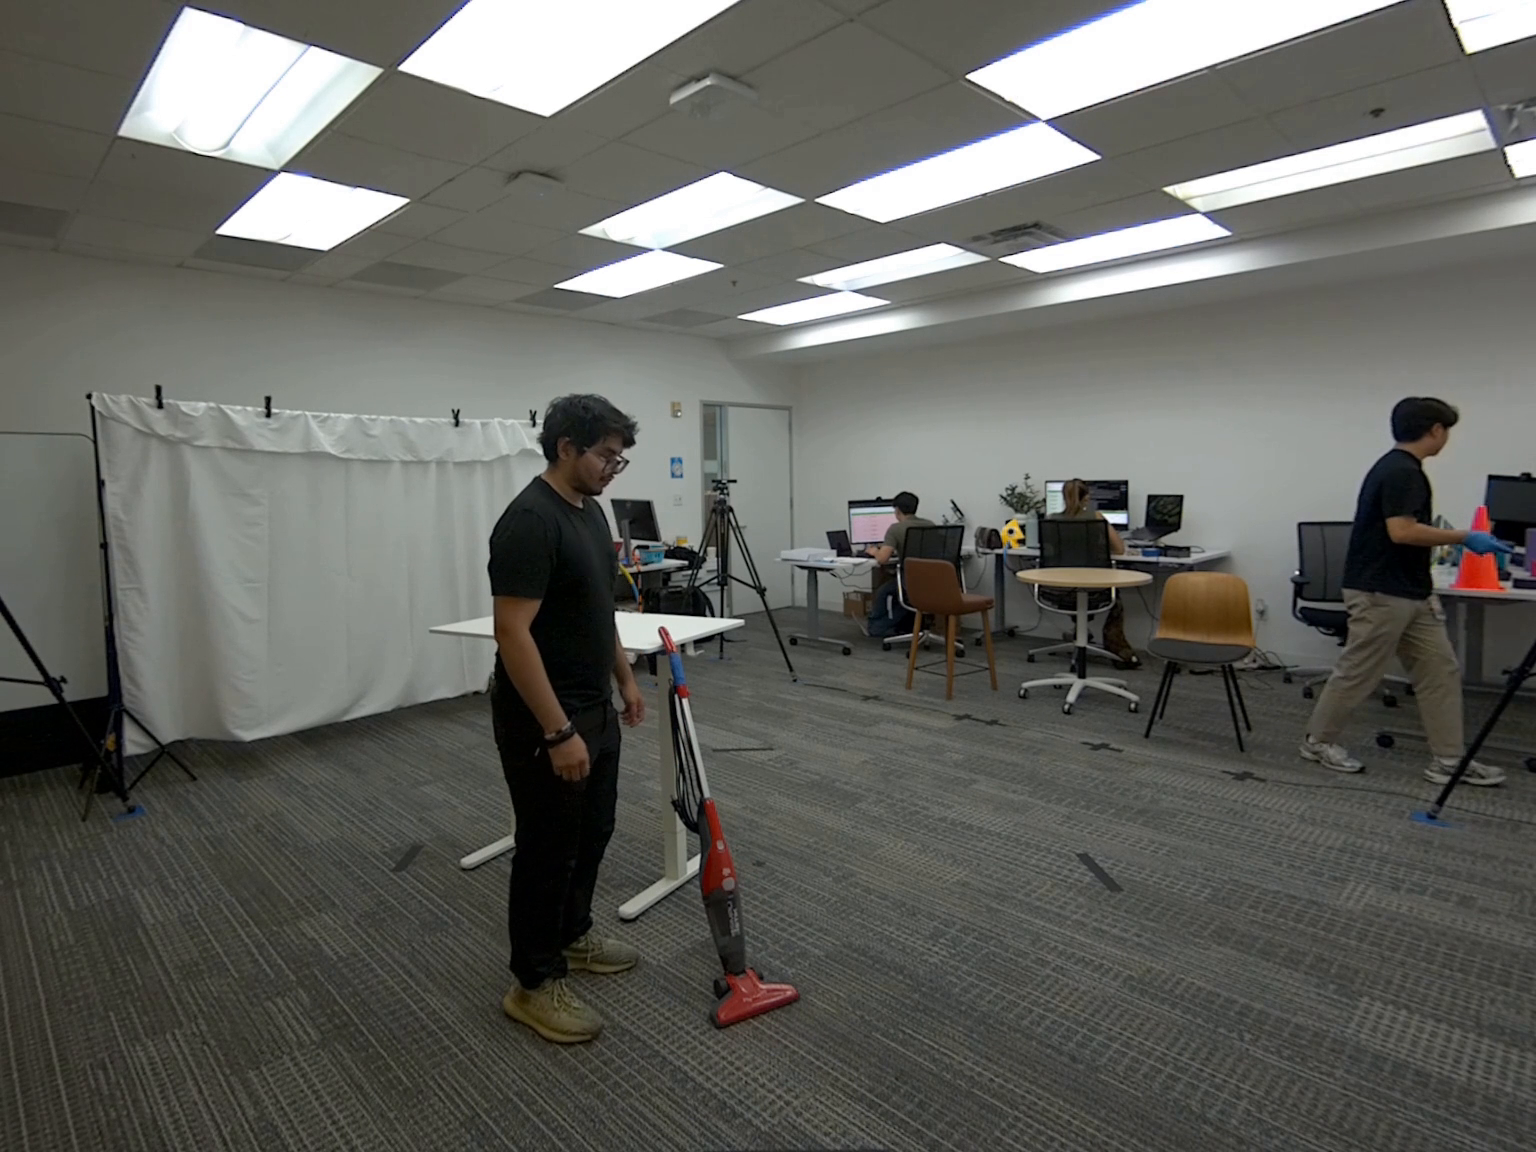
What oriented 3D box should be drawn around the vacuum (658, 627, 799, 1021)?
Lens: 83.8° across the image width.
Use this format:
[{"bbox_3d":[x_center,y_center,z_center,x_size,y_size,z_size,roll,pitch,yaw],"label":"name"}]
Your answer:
[{"bbox_3d":[-0.195,0.651,2.497,0.245,1.074,0.145,0,-27,-38],"label":"vacuum"}]
